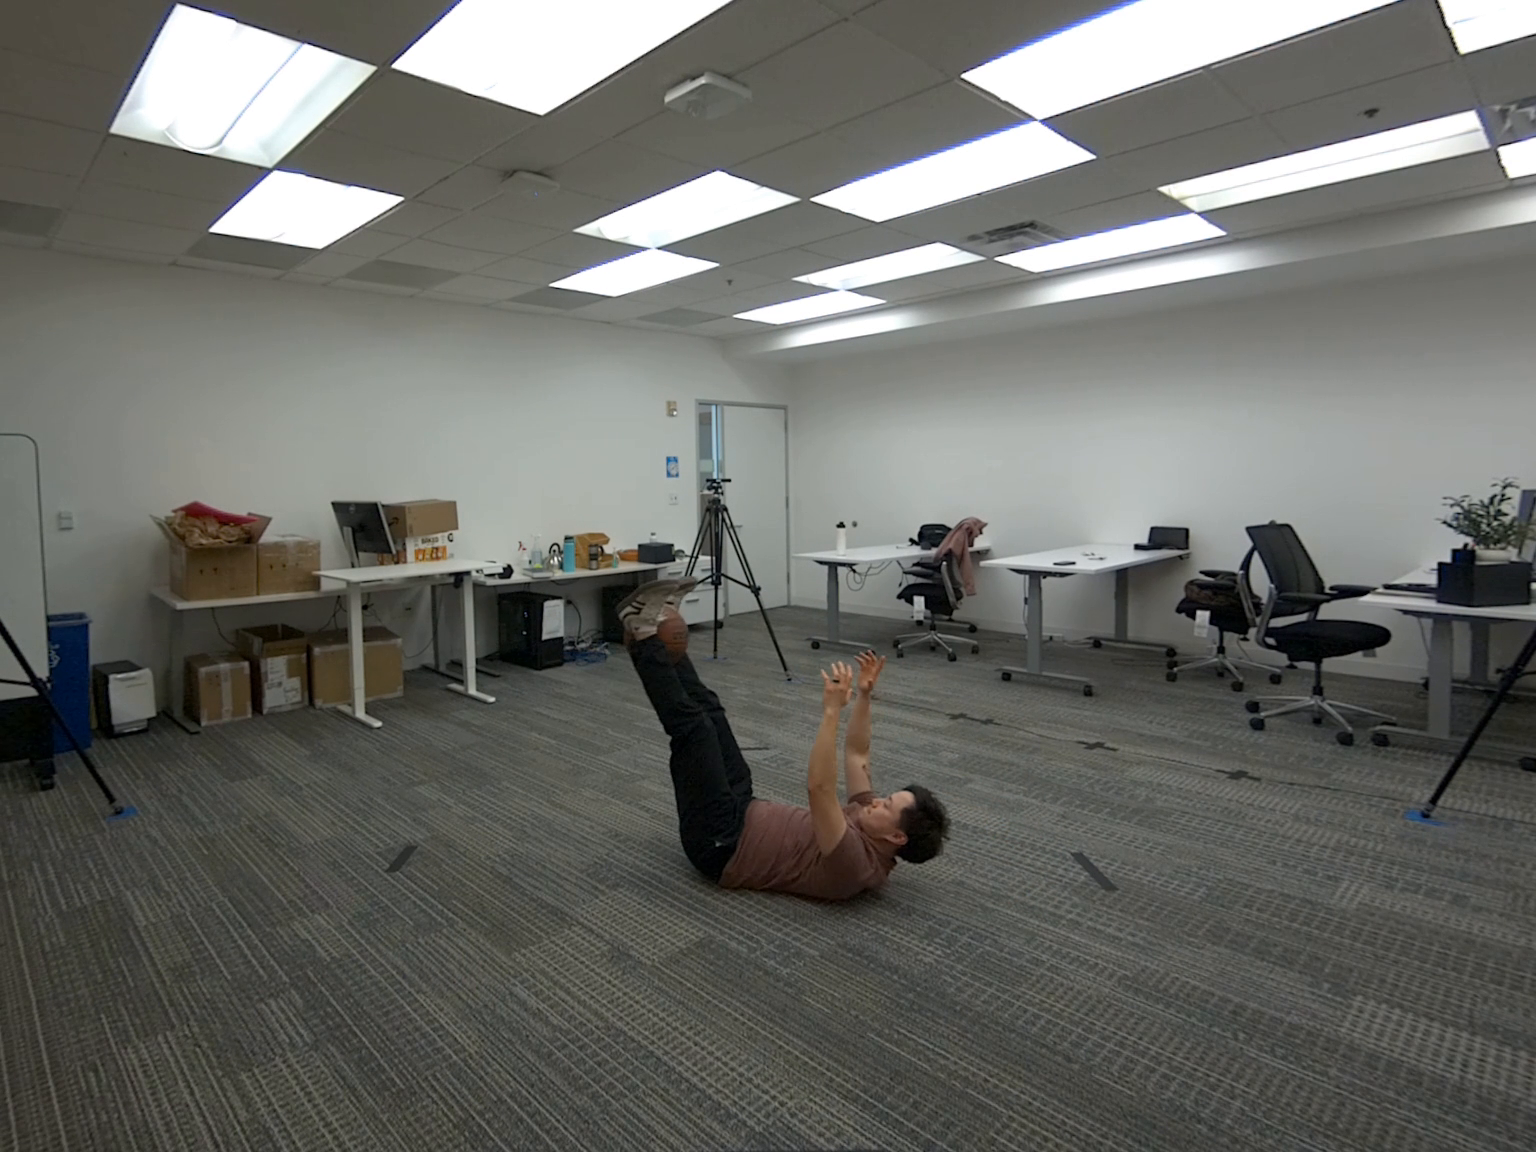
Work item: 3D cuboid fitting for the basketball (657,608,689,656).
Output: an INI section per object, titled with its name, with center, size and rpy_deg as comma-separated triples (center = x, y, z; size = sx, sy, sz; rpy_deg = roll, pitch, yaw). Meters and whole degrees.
[basketball]
center = -0.410, 0.233, 3.119
size = 0.236, 0.236, 0.236
rpy_deg = 0, 1, -2
